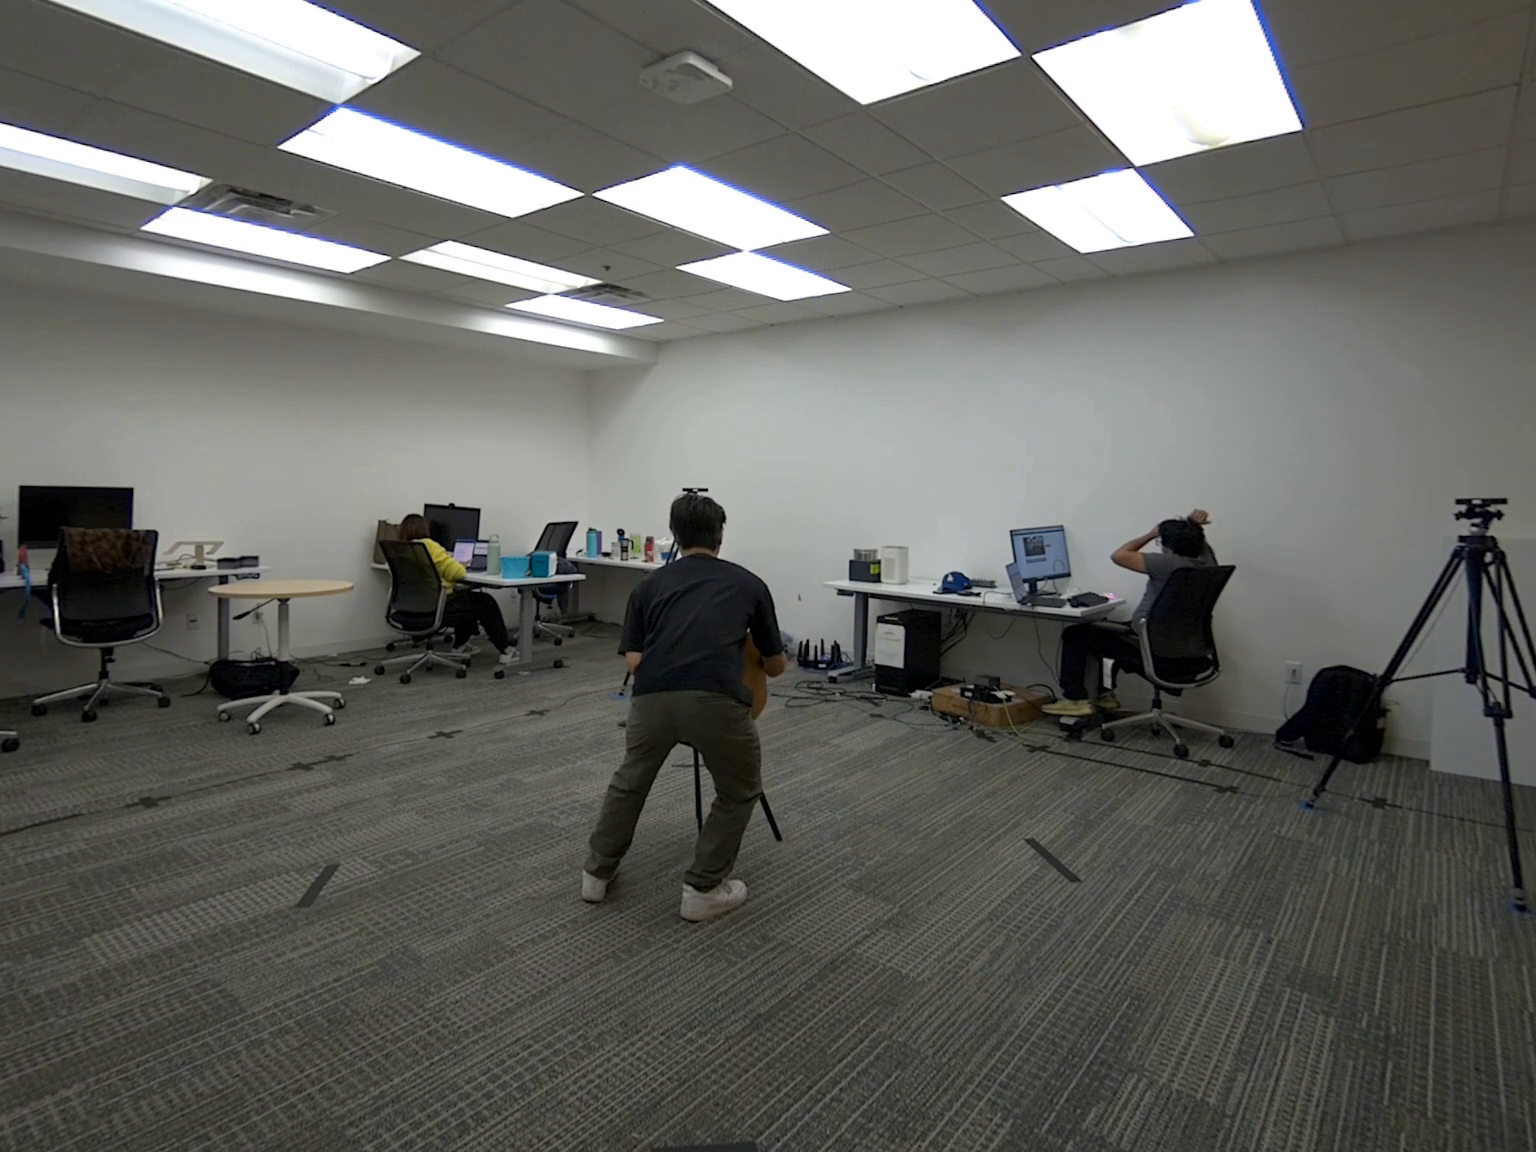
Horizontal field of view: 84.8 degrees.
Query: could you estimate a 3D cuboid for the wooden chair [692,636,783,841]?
[{"bbox_3d":[-0.291,0.607,3.290,0.541,0.874,0.464,5,5,40],"label":"wooden chair"}]
